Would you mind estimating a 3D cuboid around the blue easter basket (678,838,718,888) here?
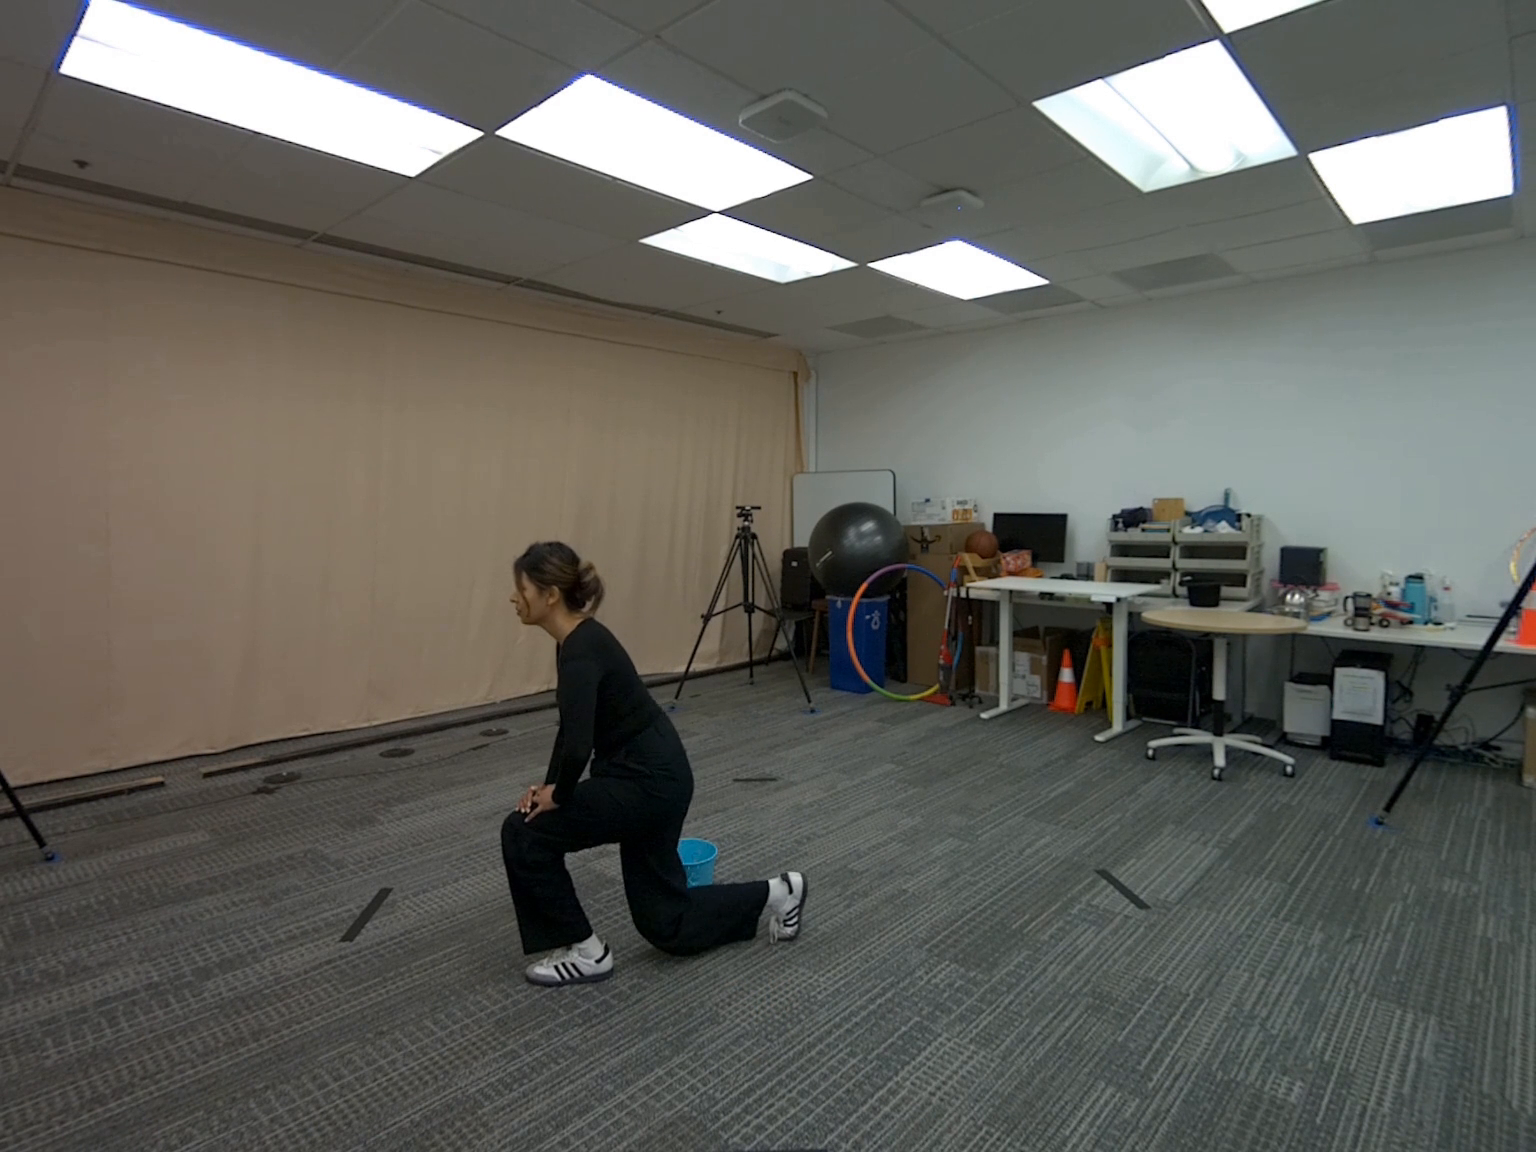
[{"bbox_3d":[-0.287,1.063,3.039,0.243,0.155,0.244,0,4,-2],"label":"blue easter basket"}]
